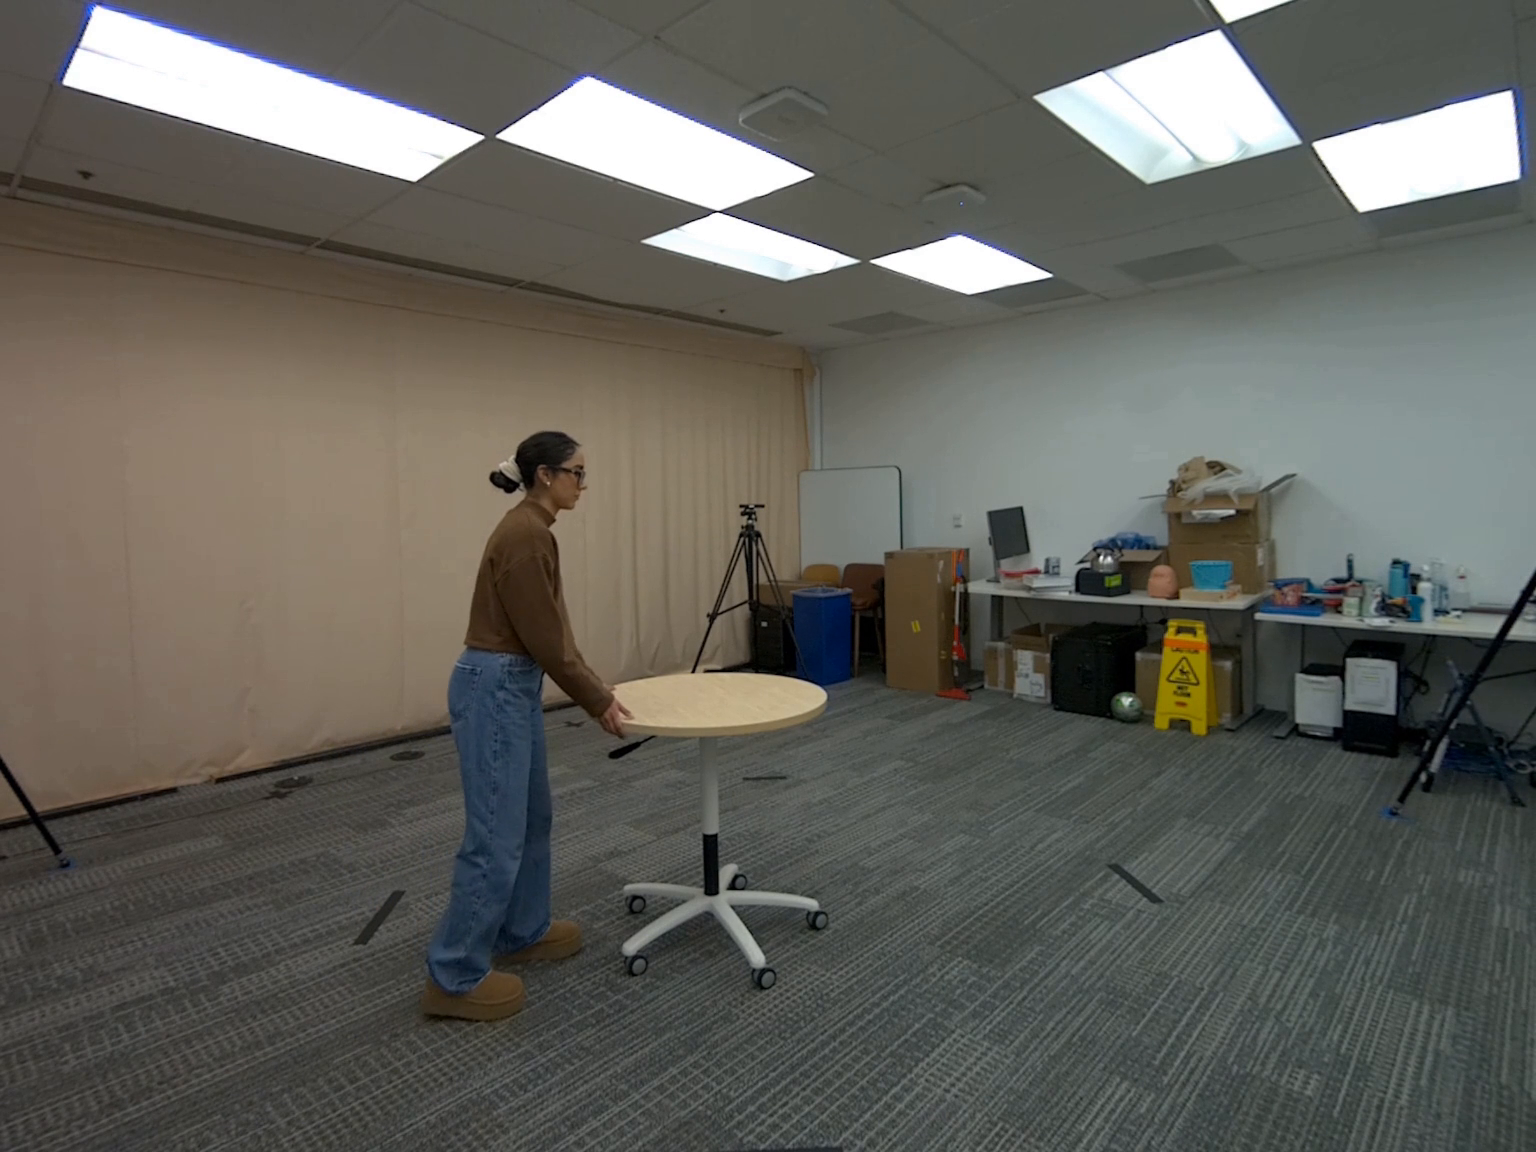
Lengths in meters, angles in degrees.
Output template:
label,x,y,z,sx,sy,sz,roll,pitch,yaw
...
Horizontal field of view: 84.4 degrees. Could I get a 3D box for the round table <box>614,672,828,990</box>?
label,x,y,z,sx,sy,sz,roll,pitch,yaw
round table,-0.182,0.778,2.710,0.763,0.792,0.766,-2,4,-2
